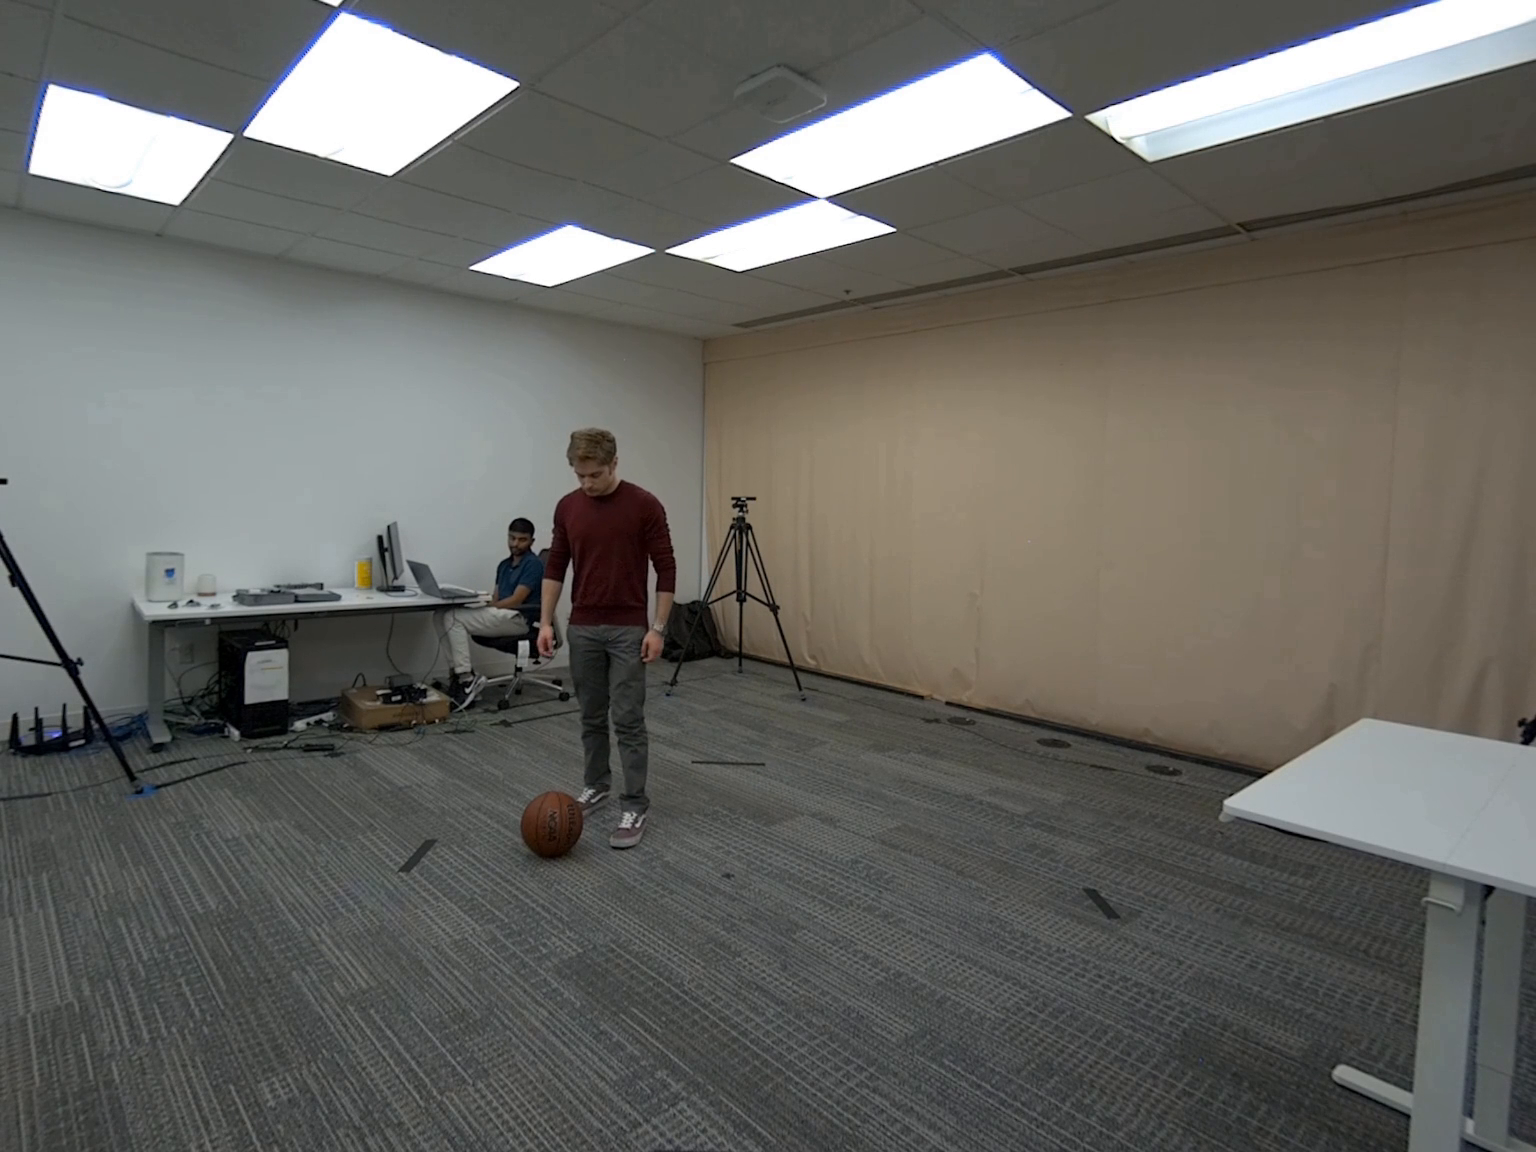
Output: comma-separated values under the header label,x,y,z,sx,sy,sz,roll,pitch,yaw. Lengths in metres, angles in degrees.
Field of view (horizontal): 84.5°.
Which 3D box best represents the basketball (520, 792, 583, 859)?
label,x,y,z,sx,sy,sz,roll,pitch,yaw
basketball,-0.841,0.954,3.255,0.236,0.235,0.237,1,4,-1
